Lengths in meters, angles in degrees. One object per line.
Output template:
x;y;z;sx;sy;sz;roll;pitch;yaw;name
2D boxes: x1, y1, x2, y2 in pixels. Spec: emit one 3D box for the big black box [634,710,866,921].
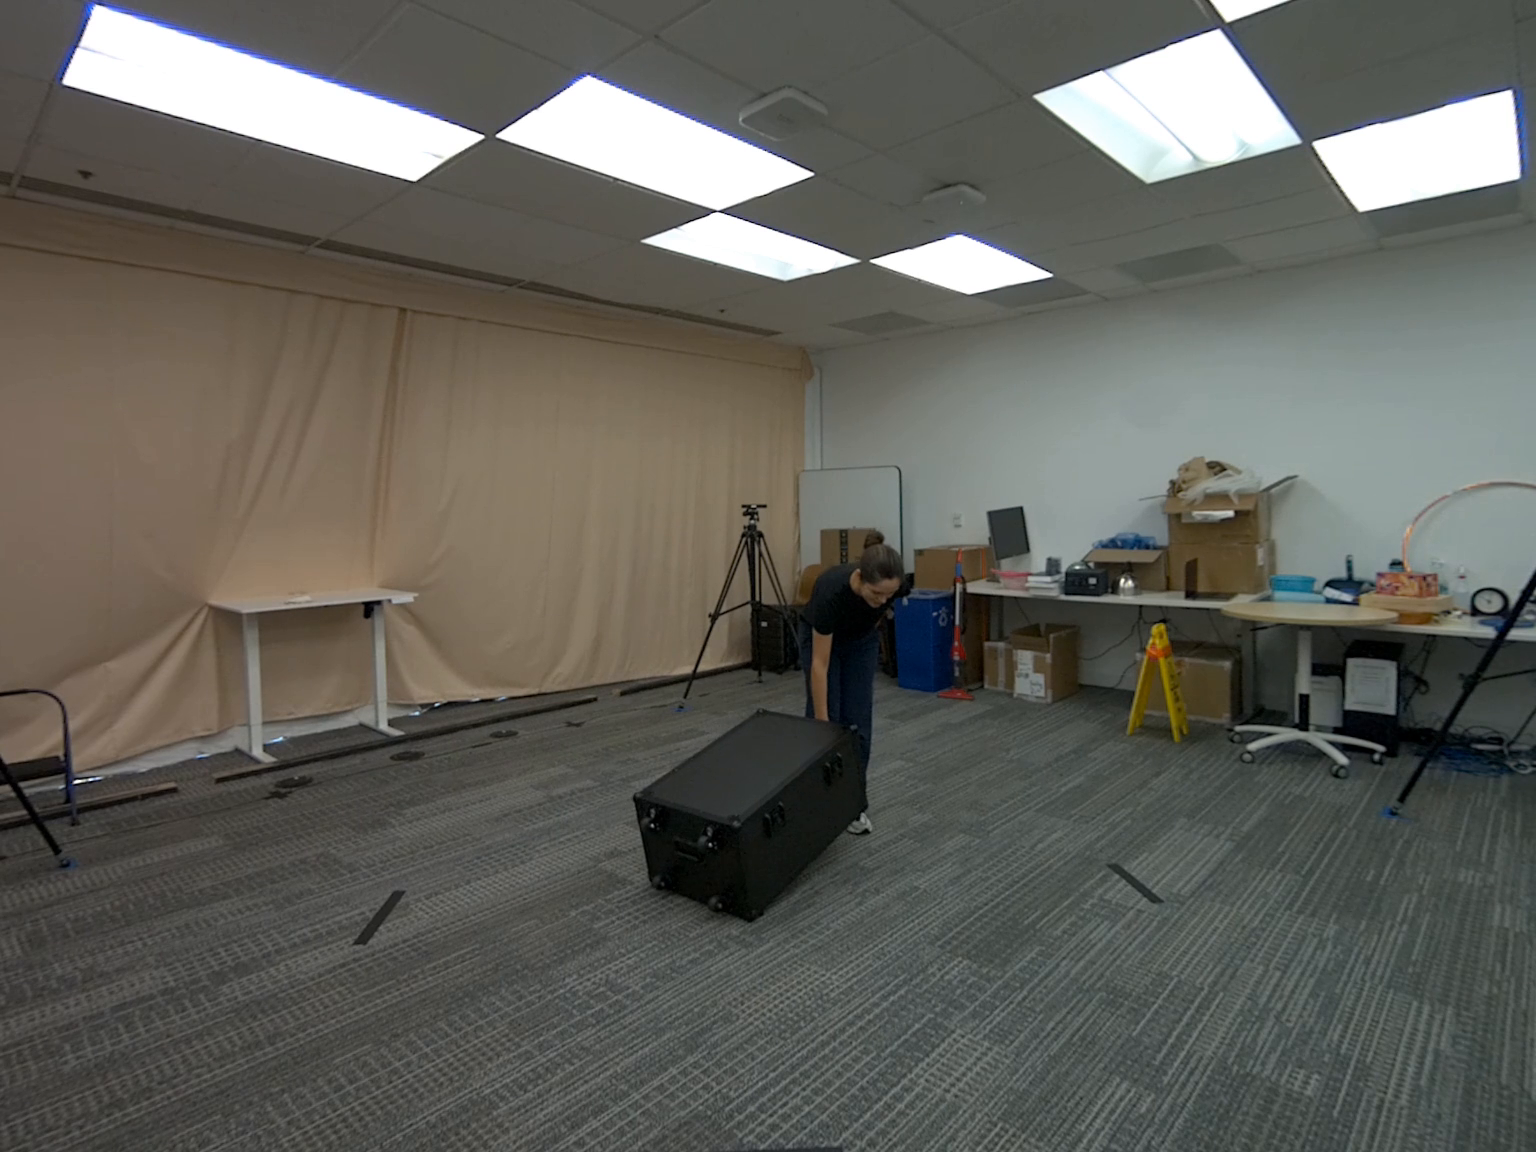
-0.055;0.873;3.177;0.538;0.392;0.843;2;17;38;big black box
